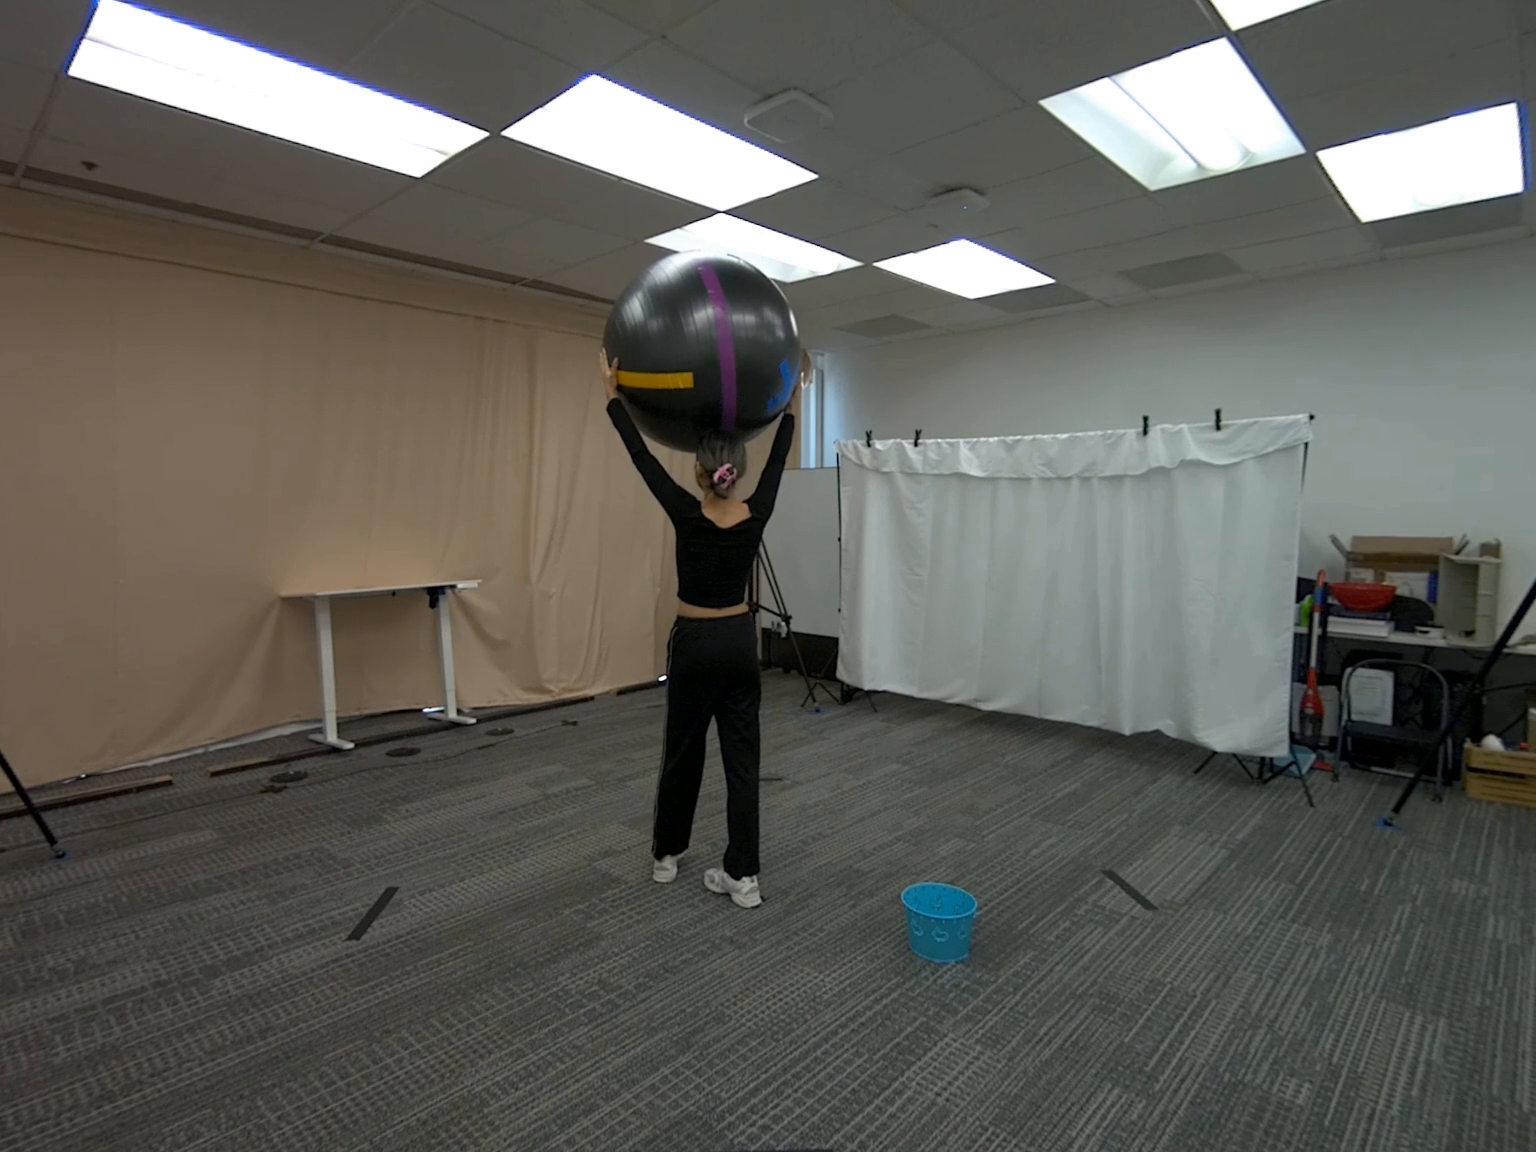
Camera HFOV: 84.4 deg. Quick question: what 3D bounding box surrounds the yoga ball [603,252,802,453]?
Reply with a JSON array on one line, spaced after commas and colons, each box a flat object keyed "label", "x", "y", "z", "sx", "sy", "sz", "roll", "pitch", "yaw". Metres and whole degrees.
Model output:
[{"label": "yoga ball", "x": -0.251, "y": -0.845, "z": 3.225, "sx": 0.757, "sy": 0.756, "sz": 0.760, "roll": 0, "pitch": 4, "yaw": -2}]
